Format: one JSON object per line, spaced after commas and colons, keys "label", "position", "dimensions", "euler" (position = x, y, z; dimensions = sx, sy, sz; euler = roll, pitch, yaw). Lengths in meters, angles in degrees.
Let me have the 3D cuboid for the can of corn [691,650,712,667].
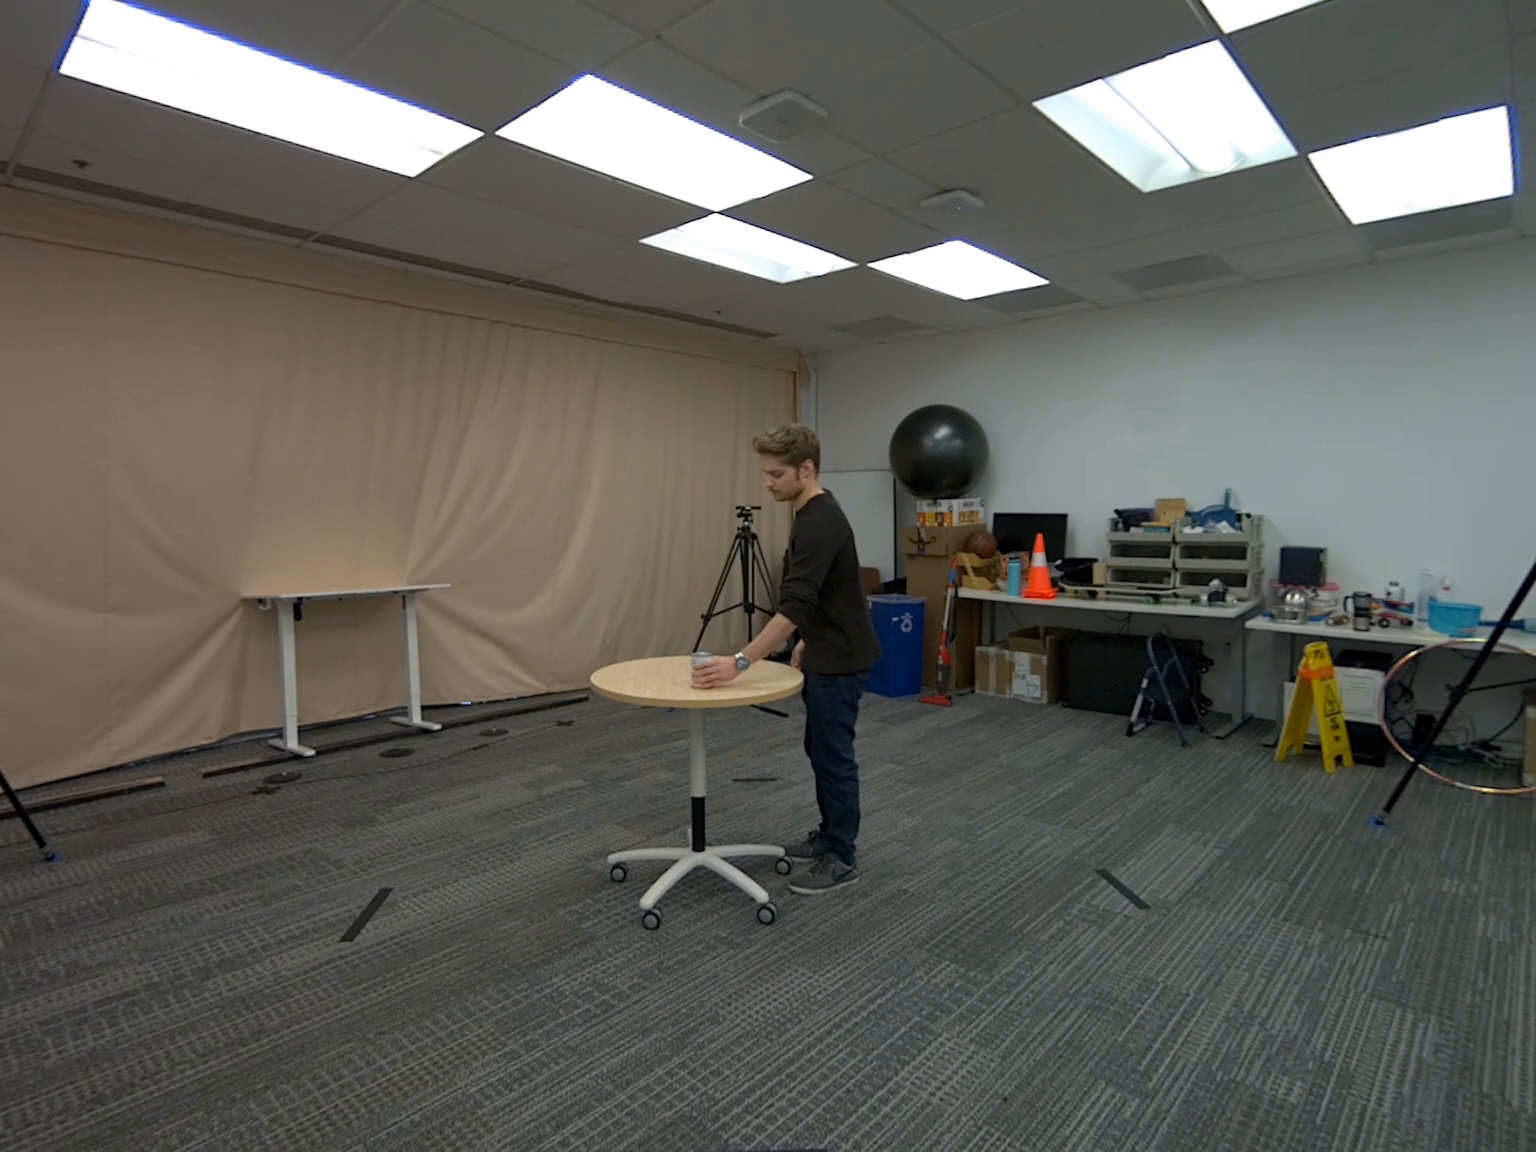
{"label": "can of corn", "position": [-0.222, 0.319, 2.835], "dimensions": [0.074, 0.110, 0.074], "euler": [-3, 5, -2]}
